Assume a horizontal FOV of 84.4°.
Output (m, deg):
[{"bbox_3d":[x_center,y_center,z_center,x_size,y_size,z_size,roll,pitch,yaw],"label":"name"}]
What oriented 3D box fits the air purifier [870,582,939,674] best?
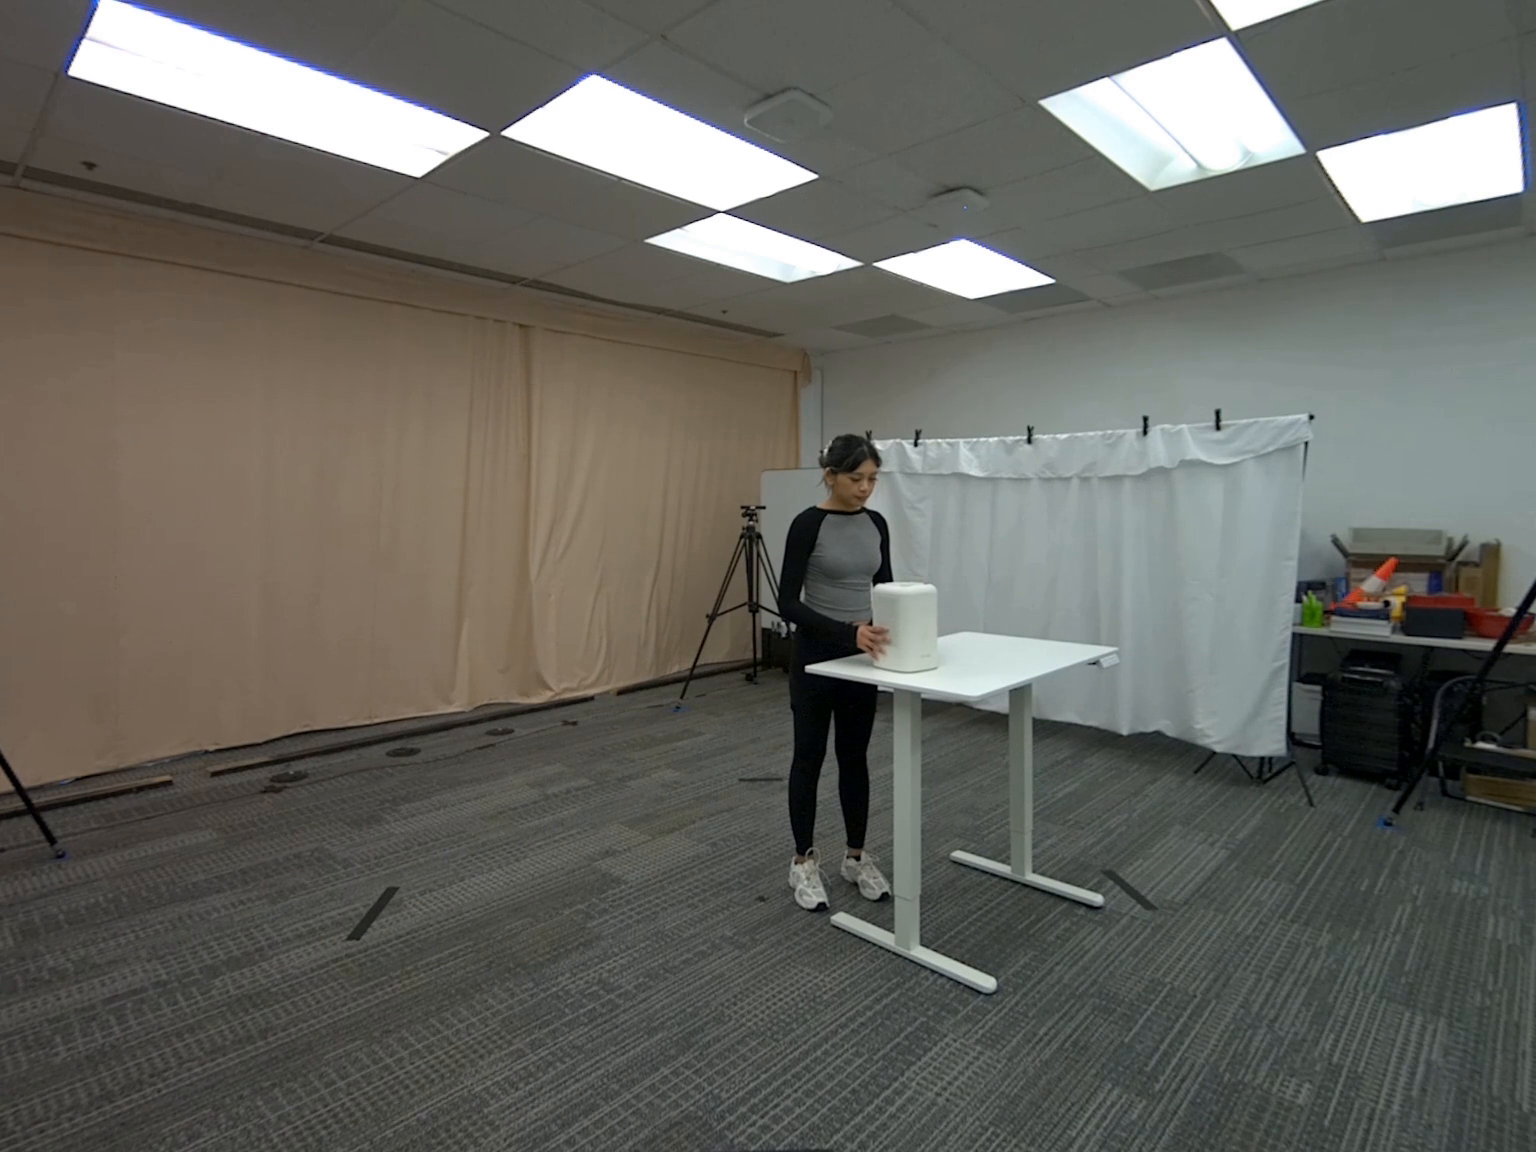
[{"bbox_3d":[0.432,0.156,2.661,0.166,0.265,0.177,-4,4,-34],"label":"air purifier"}]
